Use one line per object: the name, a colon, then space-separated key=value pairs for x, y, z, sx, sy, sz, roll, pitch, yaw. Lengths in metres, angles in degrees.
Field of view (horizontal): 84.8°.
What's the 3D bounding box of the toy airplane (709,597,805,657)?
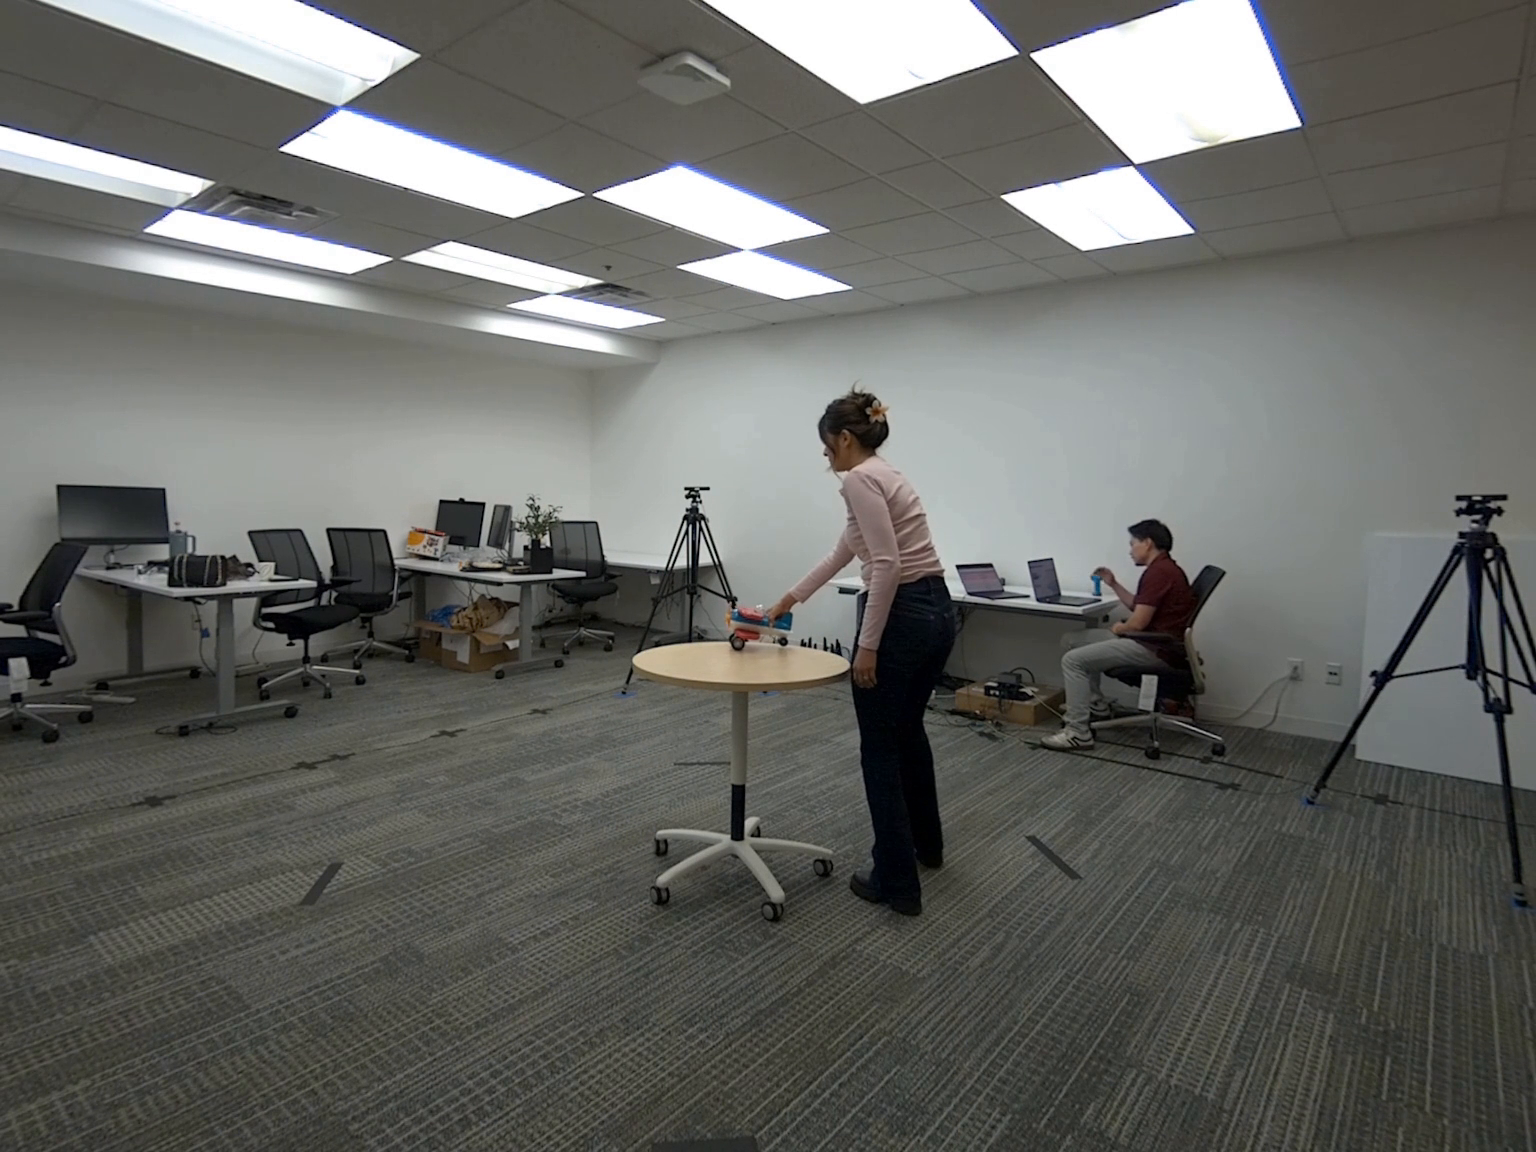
toy airplane: x=-0.045 y=0.189 z=3.269 sx=0.252 sy=0.155 sz=0.260 roll=-9 pitch=10 yaw=-41
